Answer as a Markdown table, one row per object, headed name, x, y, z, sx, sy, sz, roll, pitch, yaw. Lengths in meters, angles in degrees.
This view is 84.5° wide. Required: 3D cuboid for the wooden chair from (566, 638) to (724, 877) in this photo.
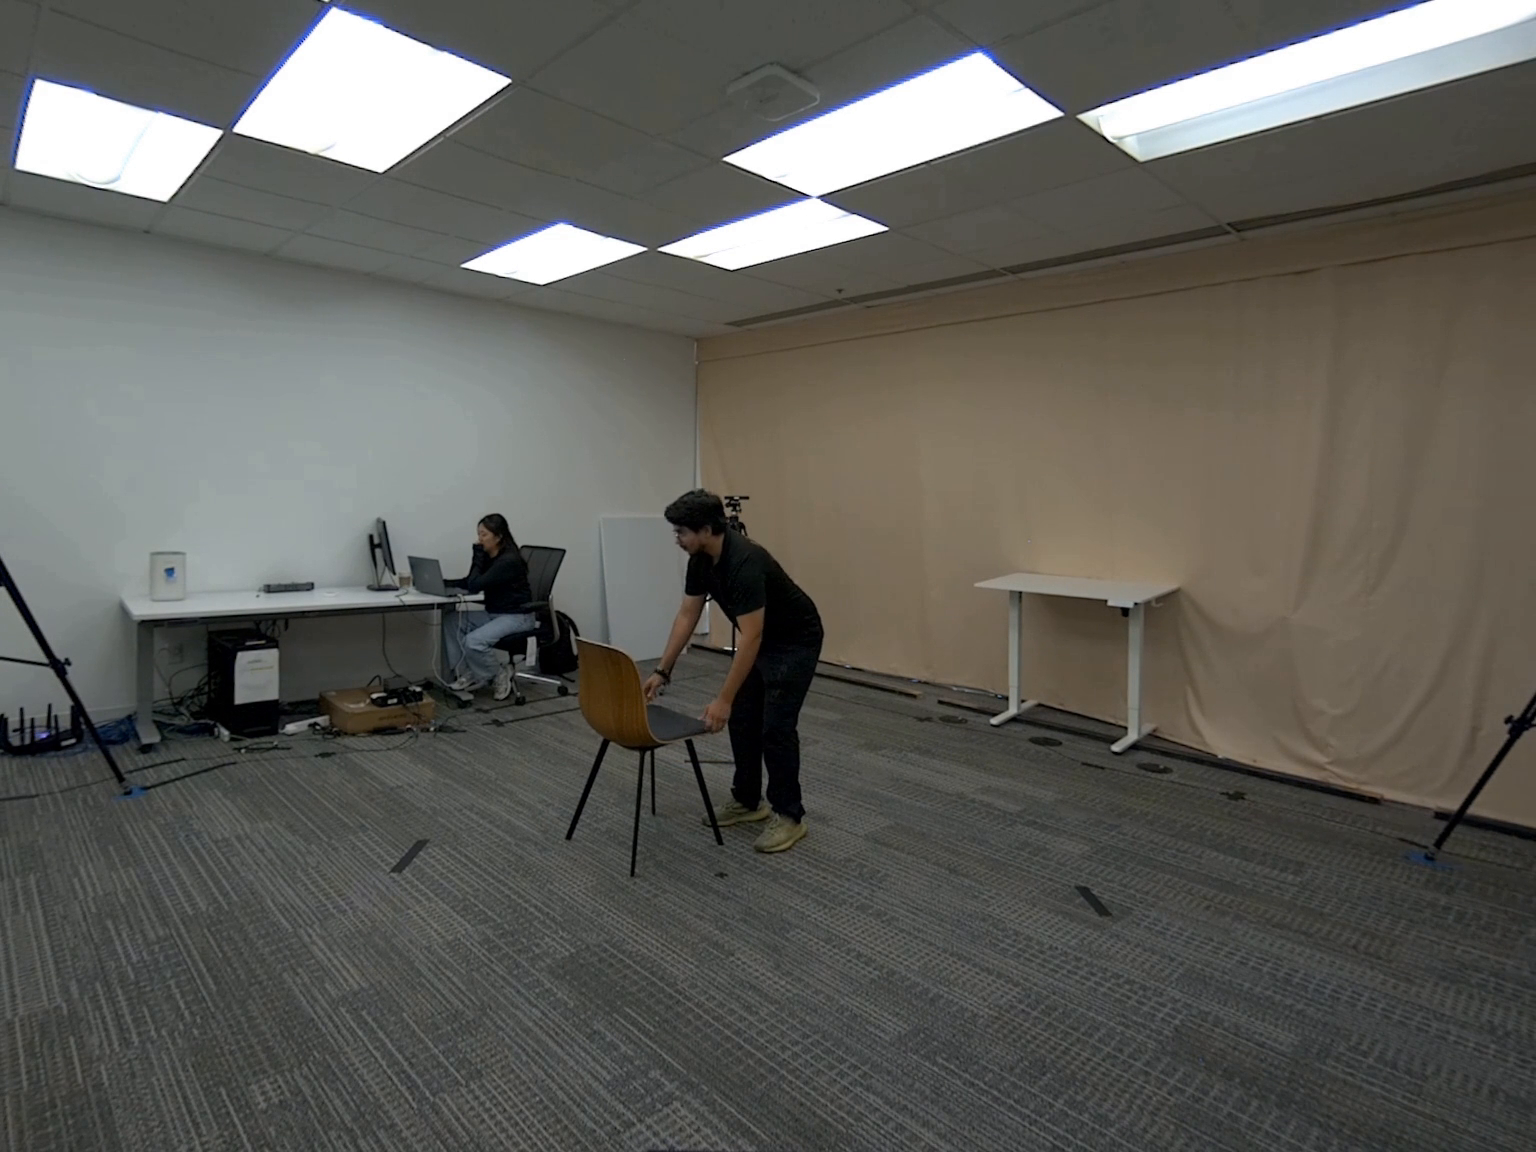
| name | x | y | z | sx | sy | sz | roll | pitch | yaw |
| --- | --- | --- | --- | --- | --- | --- | --- | --- | --- |
| wooden chair | -0.474 | 0.642 | 3.354 | 0.512 | 0.873 | 0.490 | -7 | 9 | -43 |
